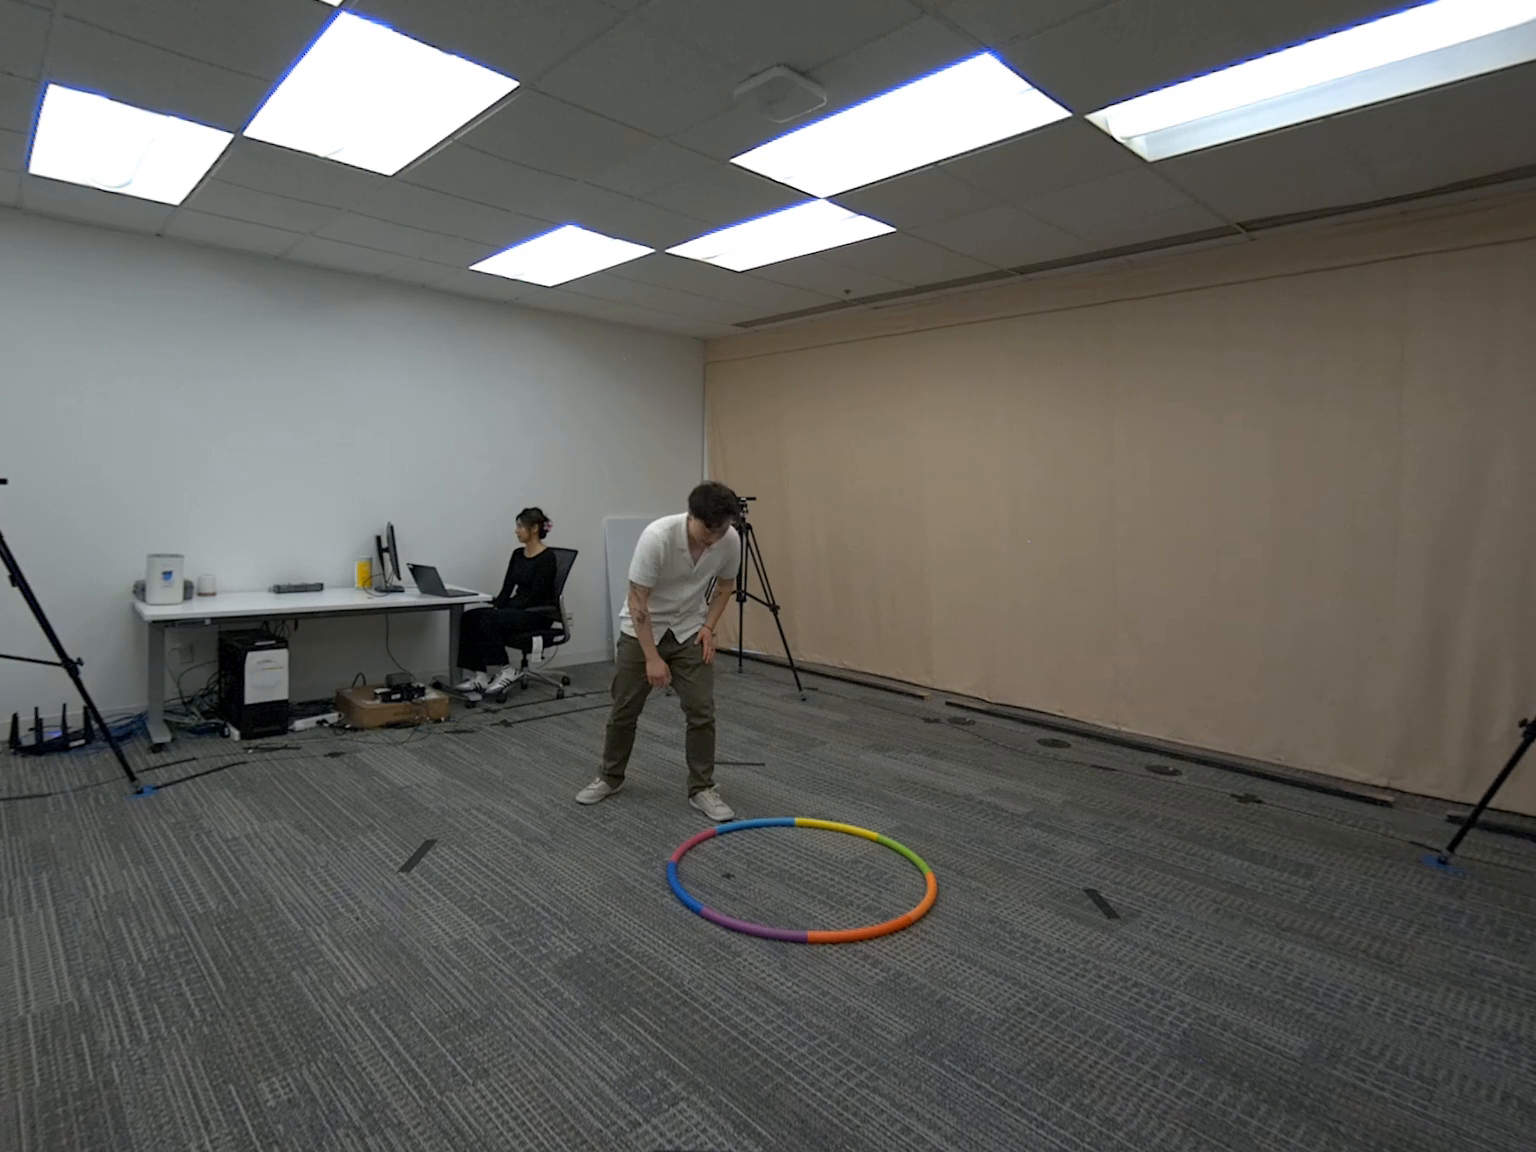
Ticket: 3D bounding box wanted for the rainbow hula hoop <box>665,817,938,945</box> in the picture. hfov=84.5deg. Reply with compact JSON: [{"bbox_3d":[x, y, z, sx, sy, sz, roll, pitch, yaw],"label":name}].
[{"bbox_3d":[0.110,1.081,3.125,0.978,0.035,0.982,1,5,-1],"label":"rainbow hula hoop"}]
